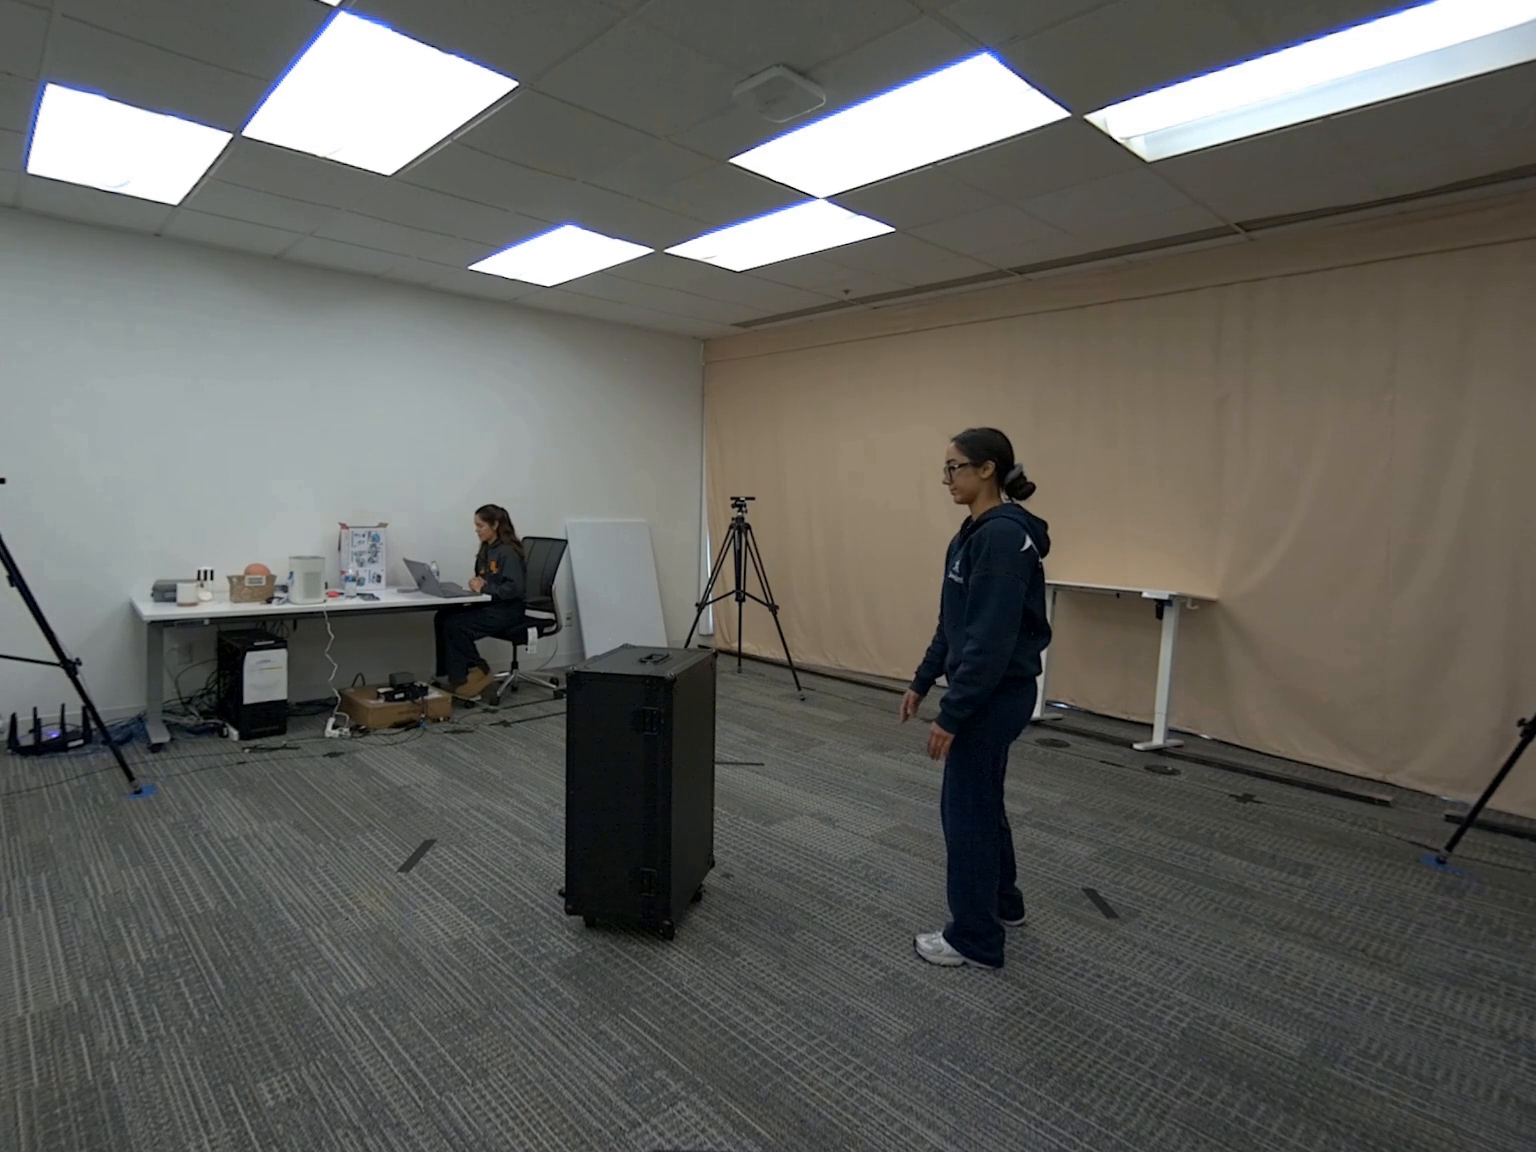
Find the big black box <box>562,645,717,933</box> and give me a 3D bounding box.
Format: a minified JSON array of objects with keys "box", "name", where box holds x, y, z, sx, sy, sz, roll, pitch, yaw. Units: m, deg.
[{"box":[-0.422,0.703,2.820,0.401,0.859,0.516,2,3,14],"name":"big black box"}]
